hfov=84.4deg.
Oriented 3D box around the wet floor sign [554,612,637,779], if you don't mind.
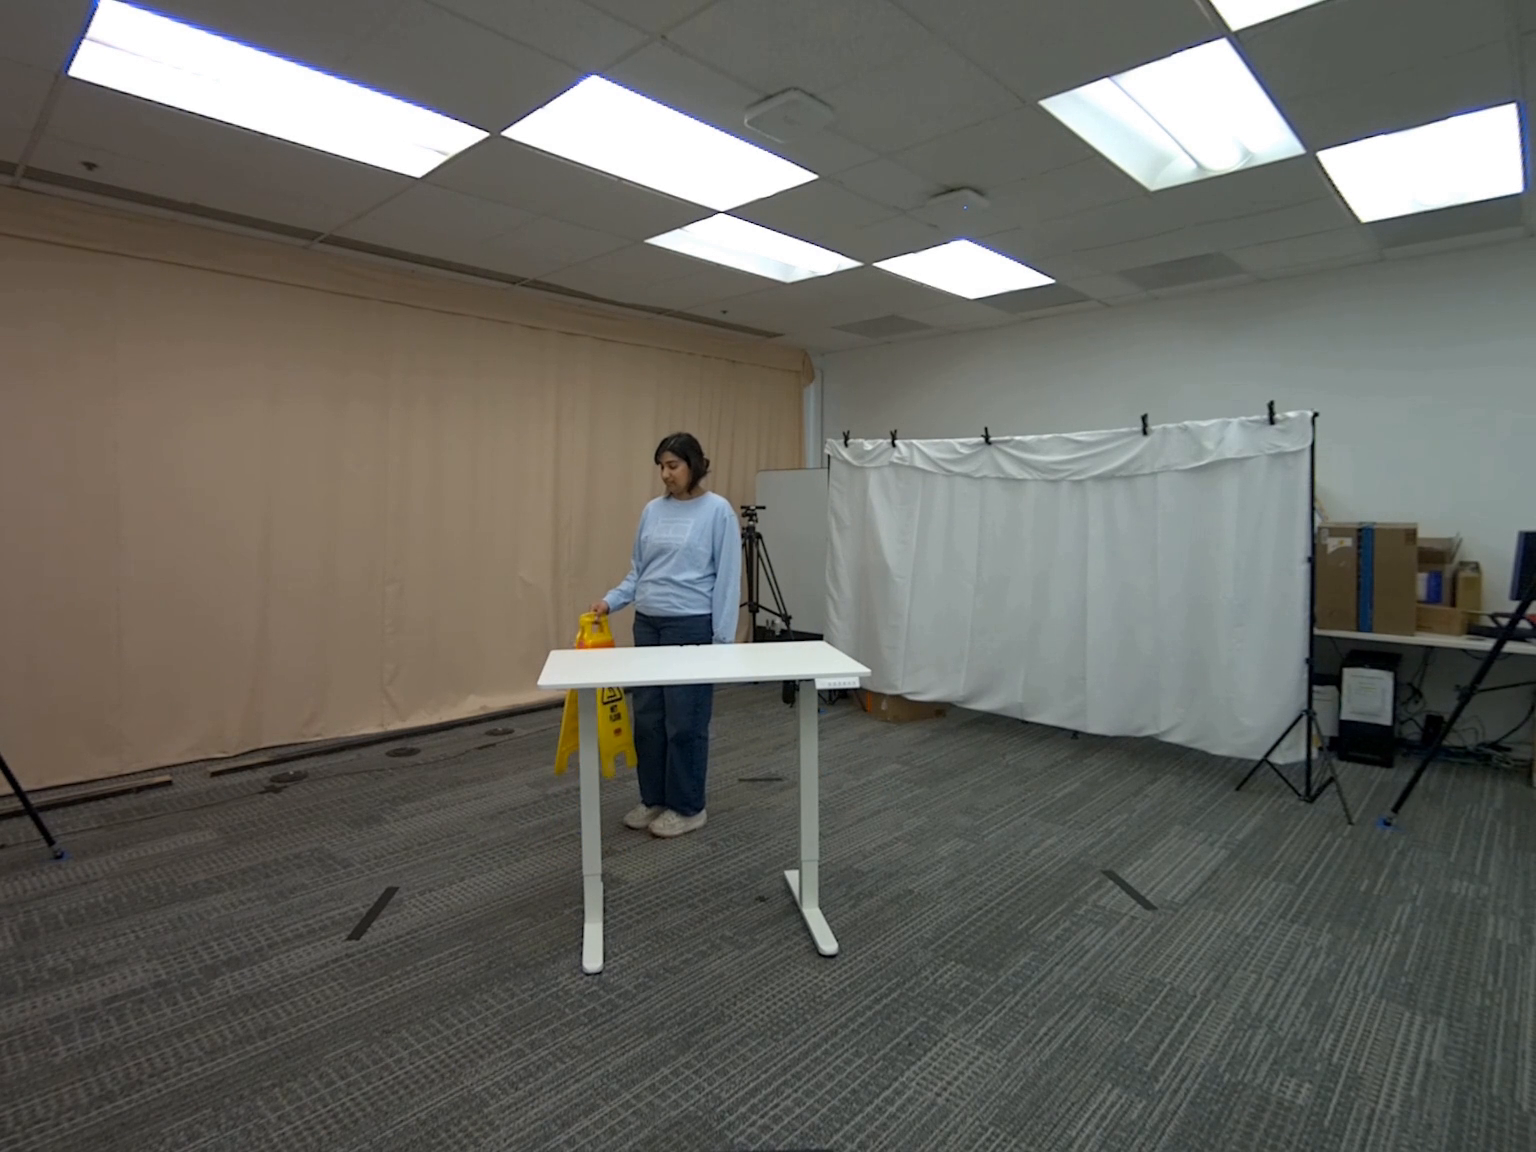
[{"bbox_3d":[-0.728,0.489,3.515,0.295,0.647,0.276,-2,-2,19],"label":"wet floor sign"}]
